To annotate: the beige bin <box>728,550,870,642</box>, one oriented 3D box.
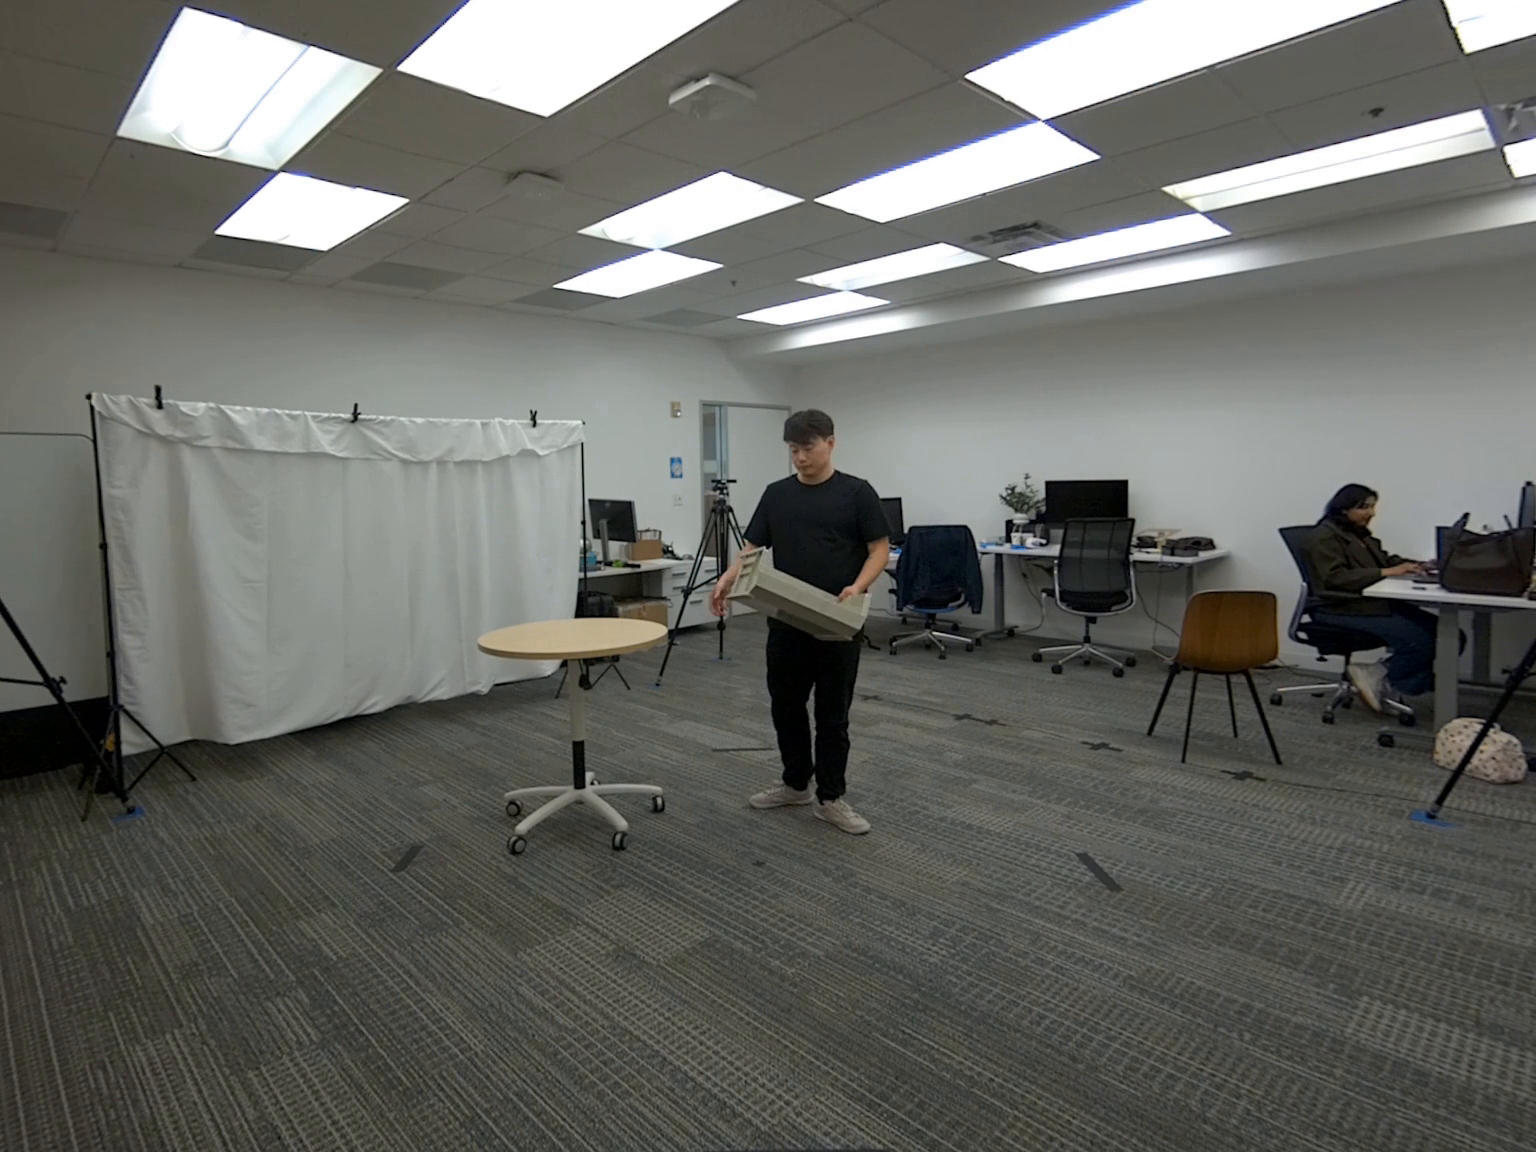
[{"bbox_3d":[0.101,0.075,3.091,0.417,0.190,0.380,23,-10,-11],"label":"beige bin"}]
